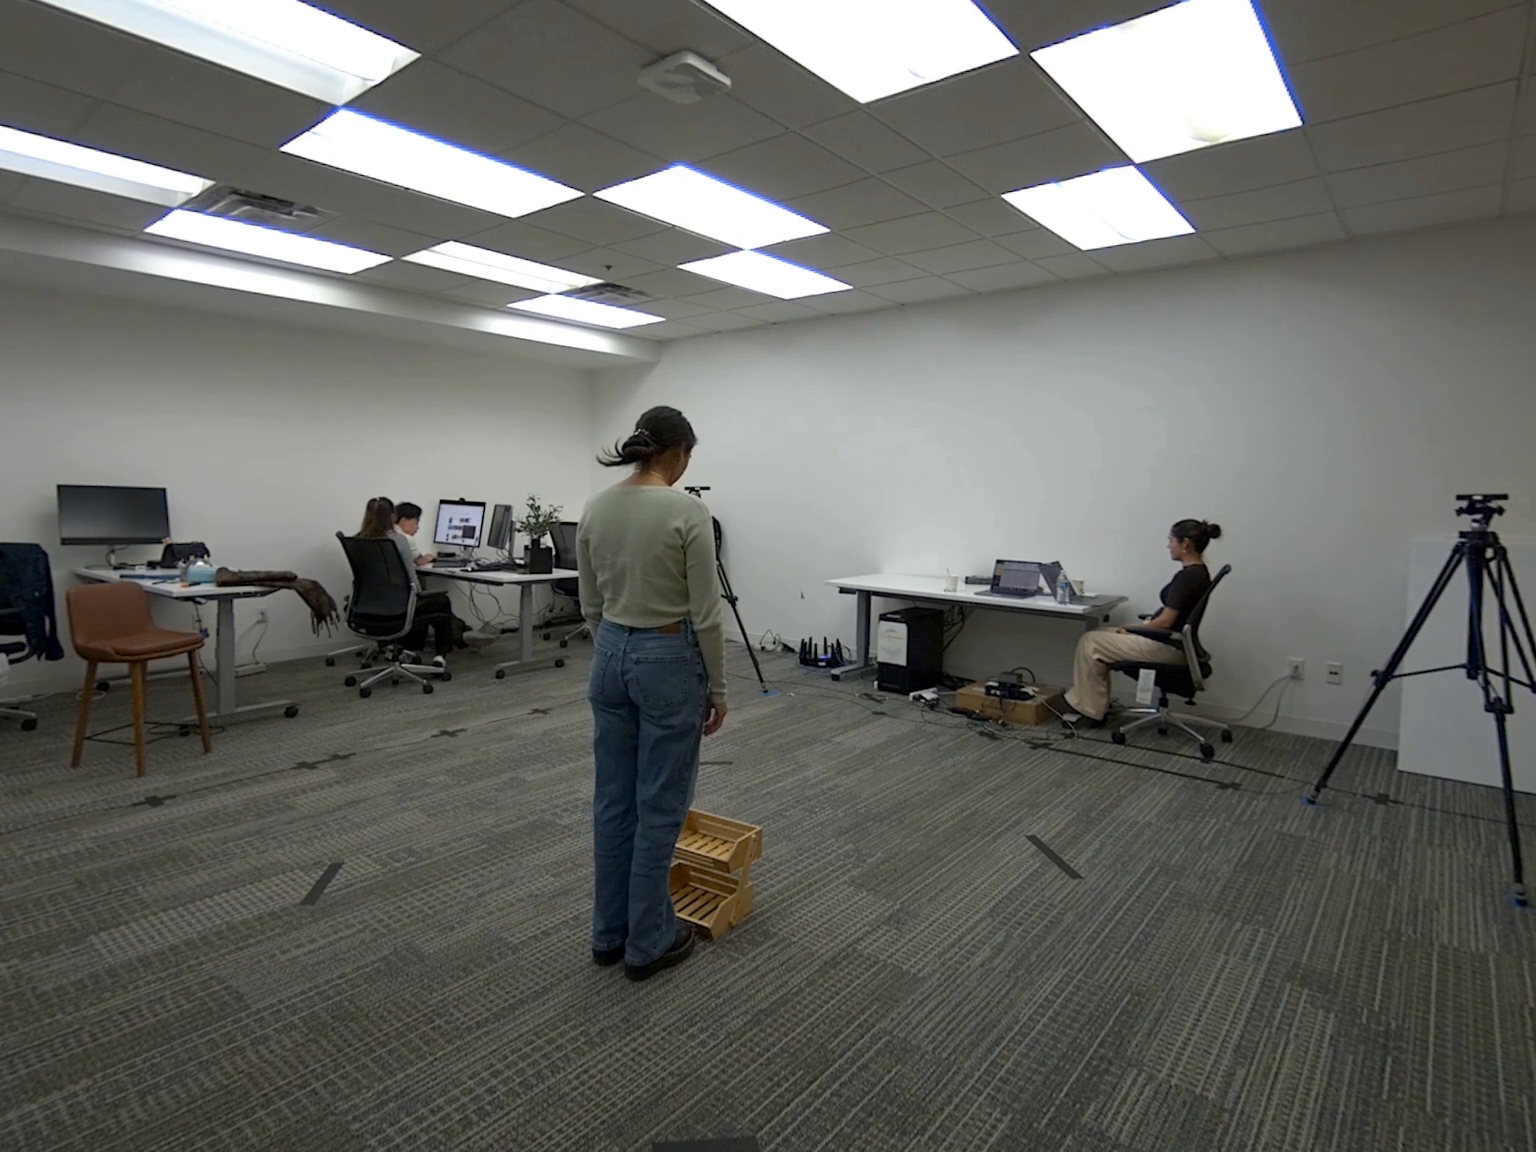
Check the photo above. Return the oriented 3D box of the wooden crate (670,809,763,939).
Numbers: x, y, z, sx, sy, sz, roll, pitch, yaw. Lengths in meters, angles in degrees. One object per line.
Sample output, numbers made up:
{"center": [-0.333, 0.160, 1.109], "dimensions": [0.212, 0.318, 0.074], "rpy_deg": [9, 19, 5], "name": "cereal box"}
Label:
{"center": [-0.234, 0.962, 2.794], "dimensions": [0.334, 0.273, 0.294], "rpy_deg": [3, 4, 32], "name": "wooden crate"}
